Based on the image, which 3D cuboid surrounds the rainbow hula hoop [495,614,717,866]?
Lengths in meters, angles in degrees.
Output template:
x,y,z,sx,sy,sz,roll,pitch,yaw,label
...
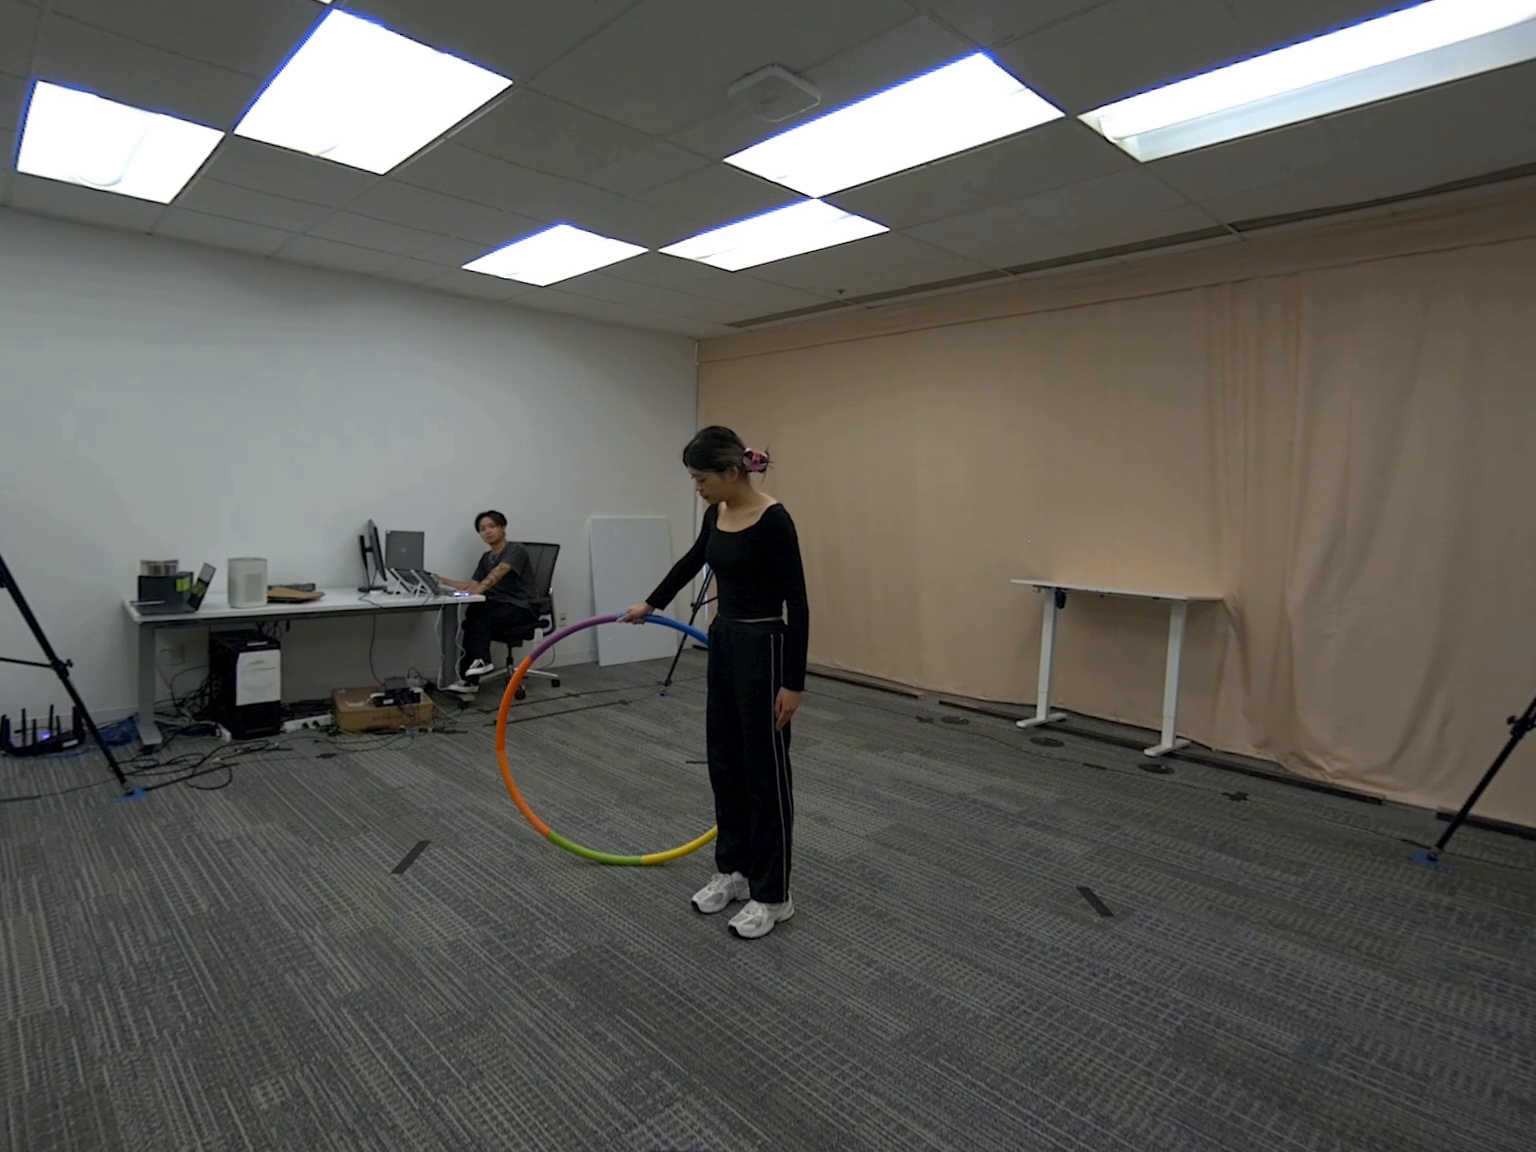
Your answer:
x,y,z,sx,sy,sz,roll,pitch,yaw,label
-0.527,0.608,3.156,0.979,0.977,0.035,1,1,1,rainbow hula hoop
